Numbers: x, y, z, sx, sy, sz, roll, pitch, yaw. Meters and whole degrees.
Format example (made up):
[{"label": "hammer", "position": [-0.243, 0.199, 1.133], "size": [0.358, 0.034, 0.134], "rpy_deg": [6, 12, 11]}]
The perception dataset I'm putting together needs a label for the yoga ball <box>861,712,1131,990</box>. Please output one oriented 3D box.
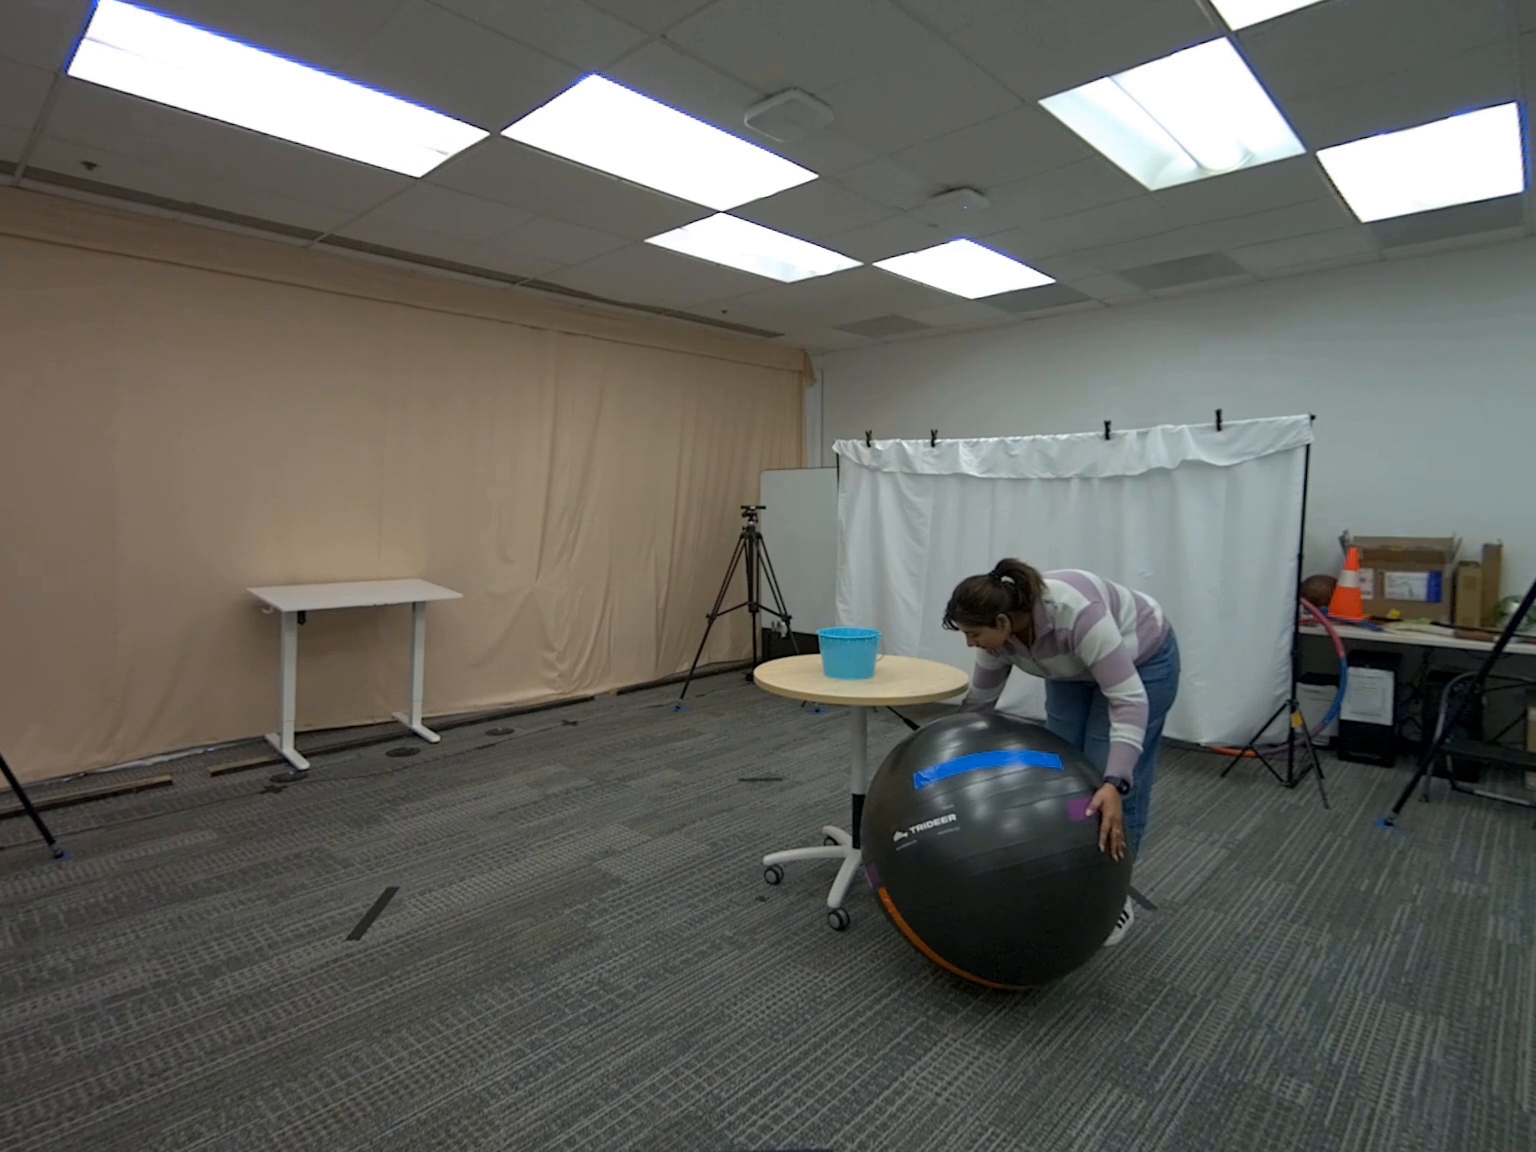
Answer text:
[{"label": "yoga ball", "position": [0.666, 0.799, 2.481], "size": [0.757, 0.756, 0.760], "rpy_deg": [0, 4, -2]}]
